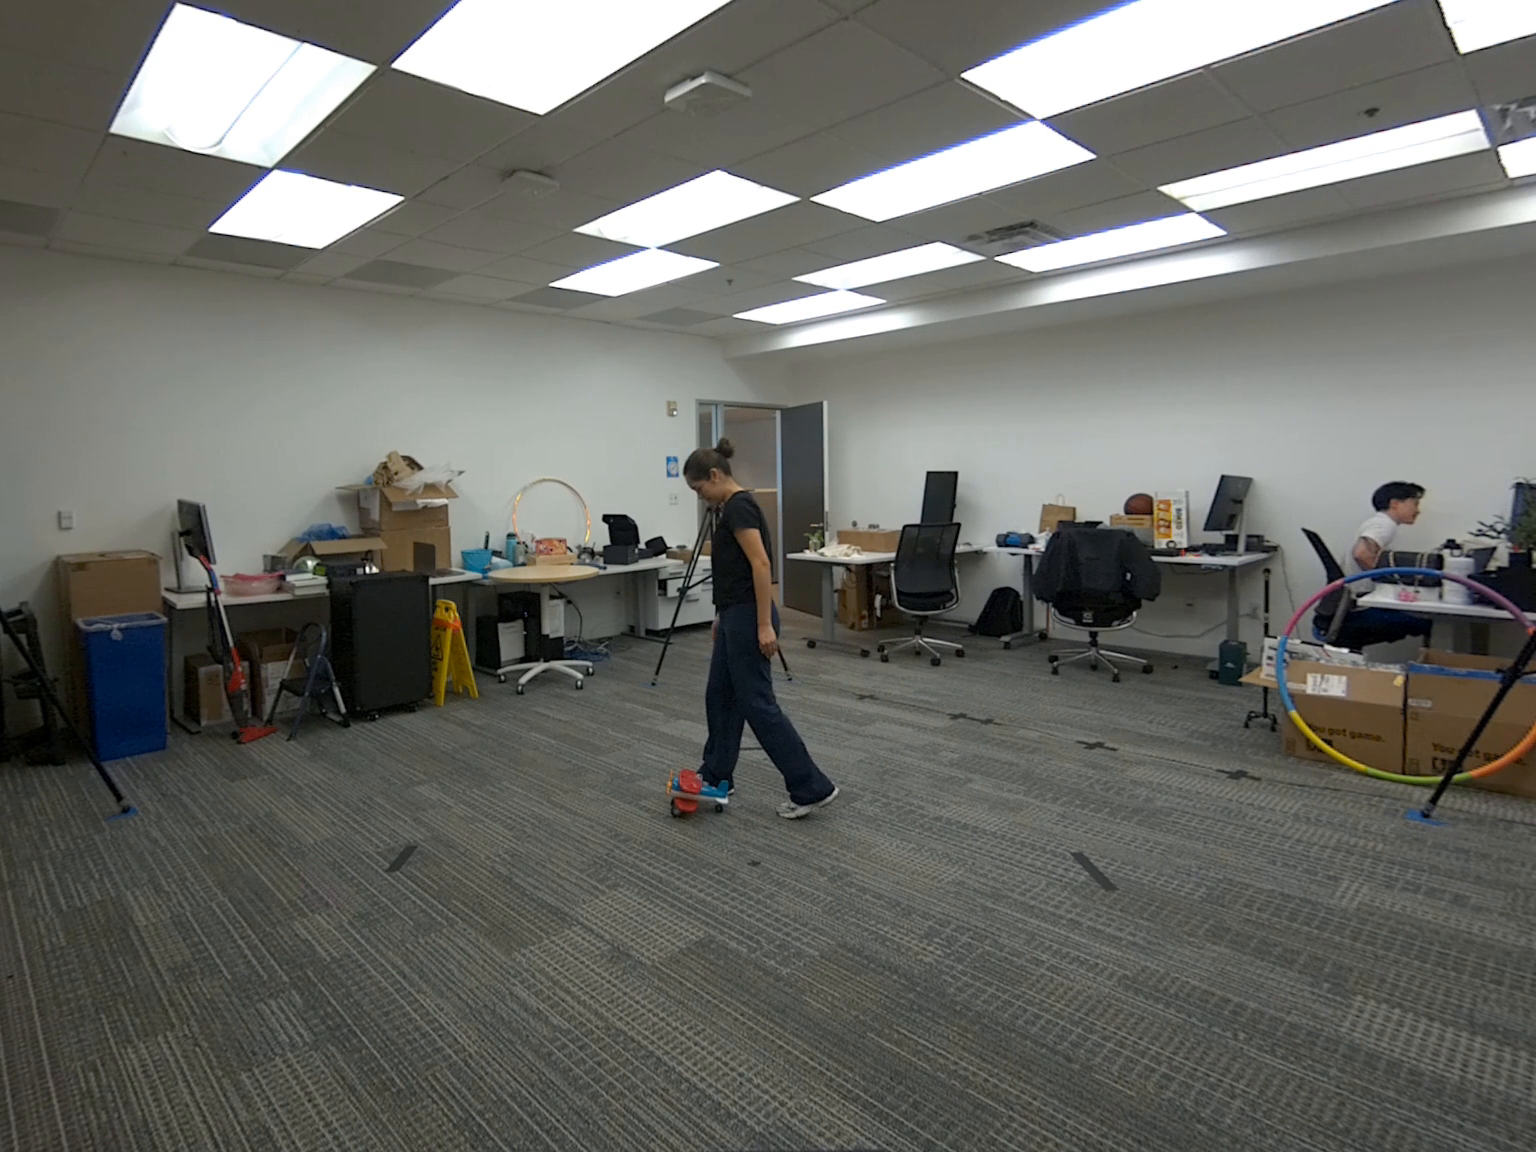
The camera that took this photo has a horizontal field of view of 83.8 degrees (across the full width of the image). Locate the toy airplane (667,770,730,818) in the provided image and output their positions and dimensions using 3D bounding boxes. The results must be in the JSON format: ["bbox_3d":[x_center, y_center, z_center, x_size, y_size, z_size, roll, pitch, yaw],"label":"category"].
[{"bbox_3d":[-0.302,0.914,3.622,0.253,0.156,0.258,-4,5,-33],"label":"toy airplane"}]
